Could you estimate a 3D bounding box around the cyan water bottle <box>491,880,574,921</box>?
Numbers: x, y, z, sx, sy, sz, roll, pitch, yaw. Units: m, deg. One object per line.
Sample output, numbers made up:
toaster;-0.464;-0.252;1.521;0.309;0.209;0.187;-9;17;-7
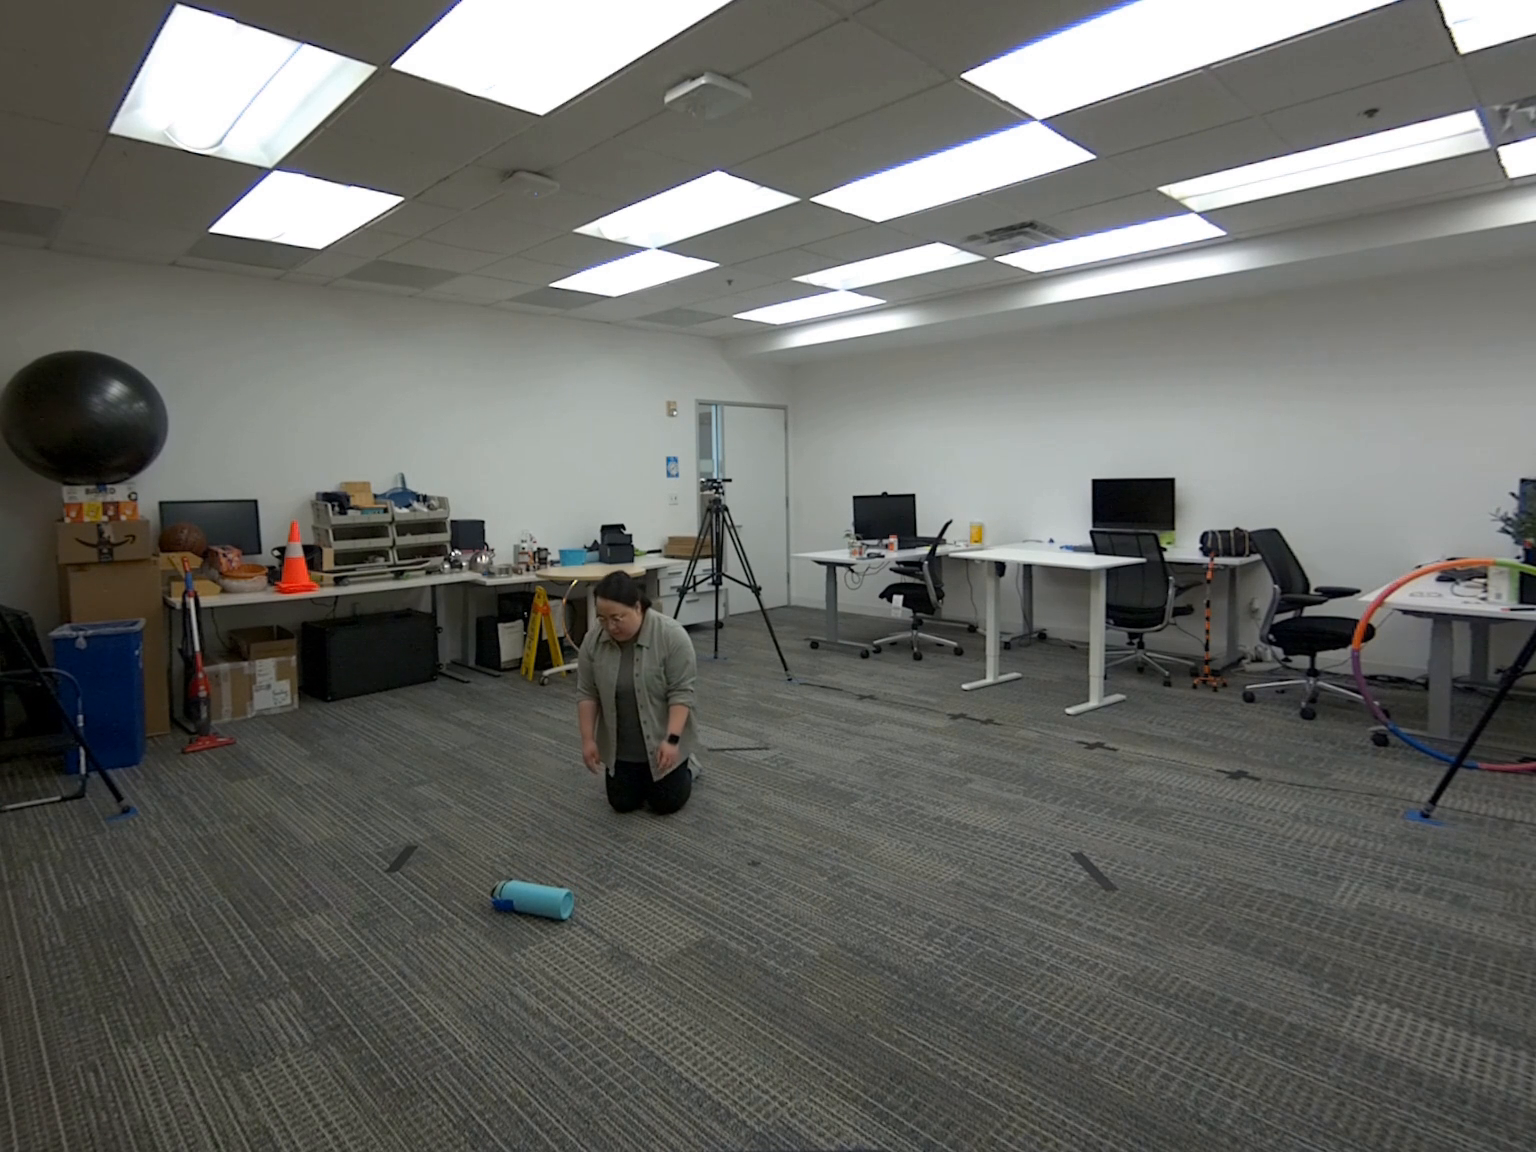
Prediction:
cyan water bottle;-0.779;1.054;2.787;0.289;0.092;0.091;1;5;19
